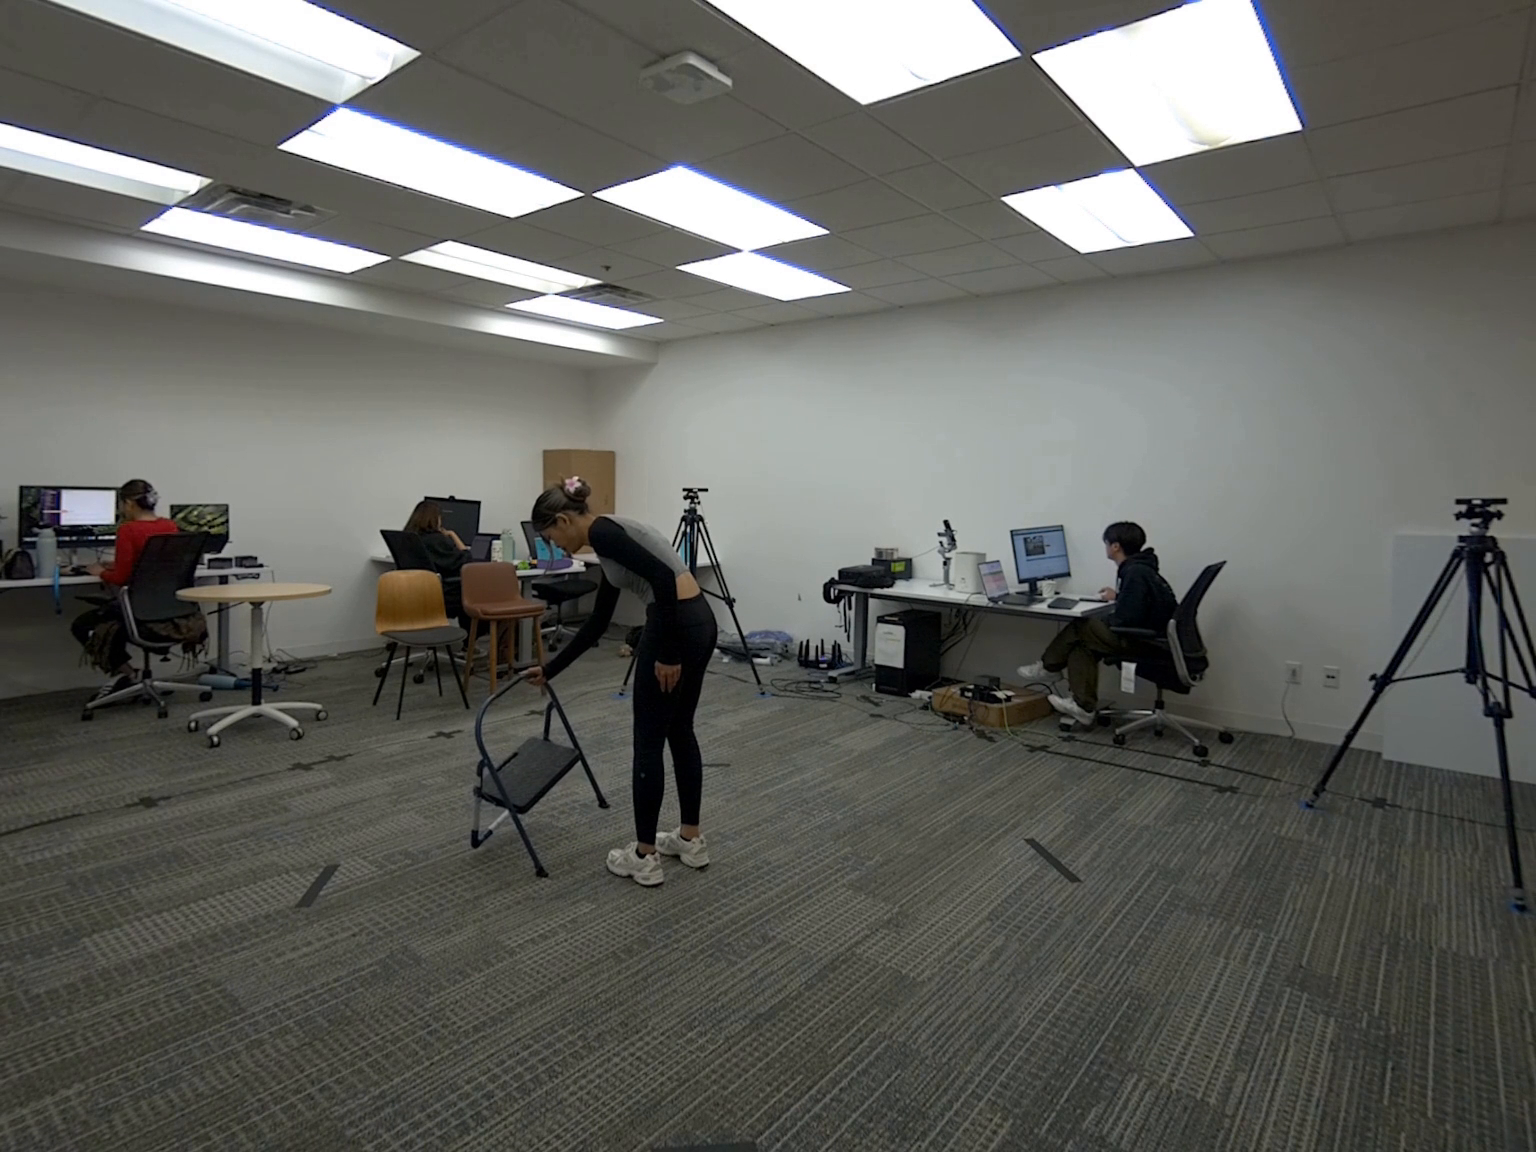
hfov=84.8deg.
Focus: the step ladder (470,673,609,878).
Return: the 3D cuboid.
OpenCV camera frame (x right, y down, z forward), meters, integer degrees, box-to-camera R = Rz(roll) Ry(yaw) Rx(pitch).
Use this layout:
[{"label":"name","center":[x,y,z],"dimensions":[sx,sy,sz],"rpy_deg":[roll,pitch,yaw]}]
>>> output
[{"label":"step ladder","center":[-0.894,0.687,3.156],"dimensions":[0.359,0.593,0.428],"rpy_deg":[8,25,24]}]
